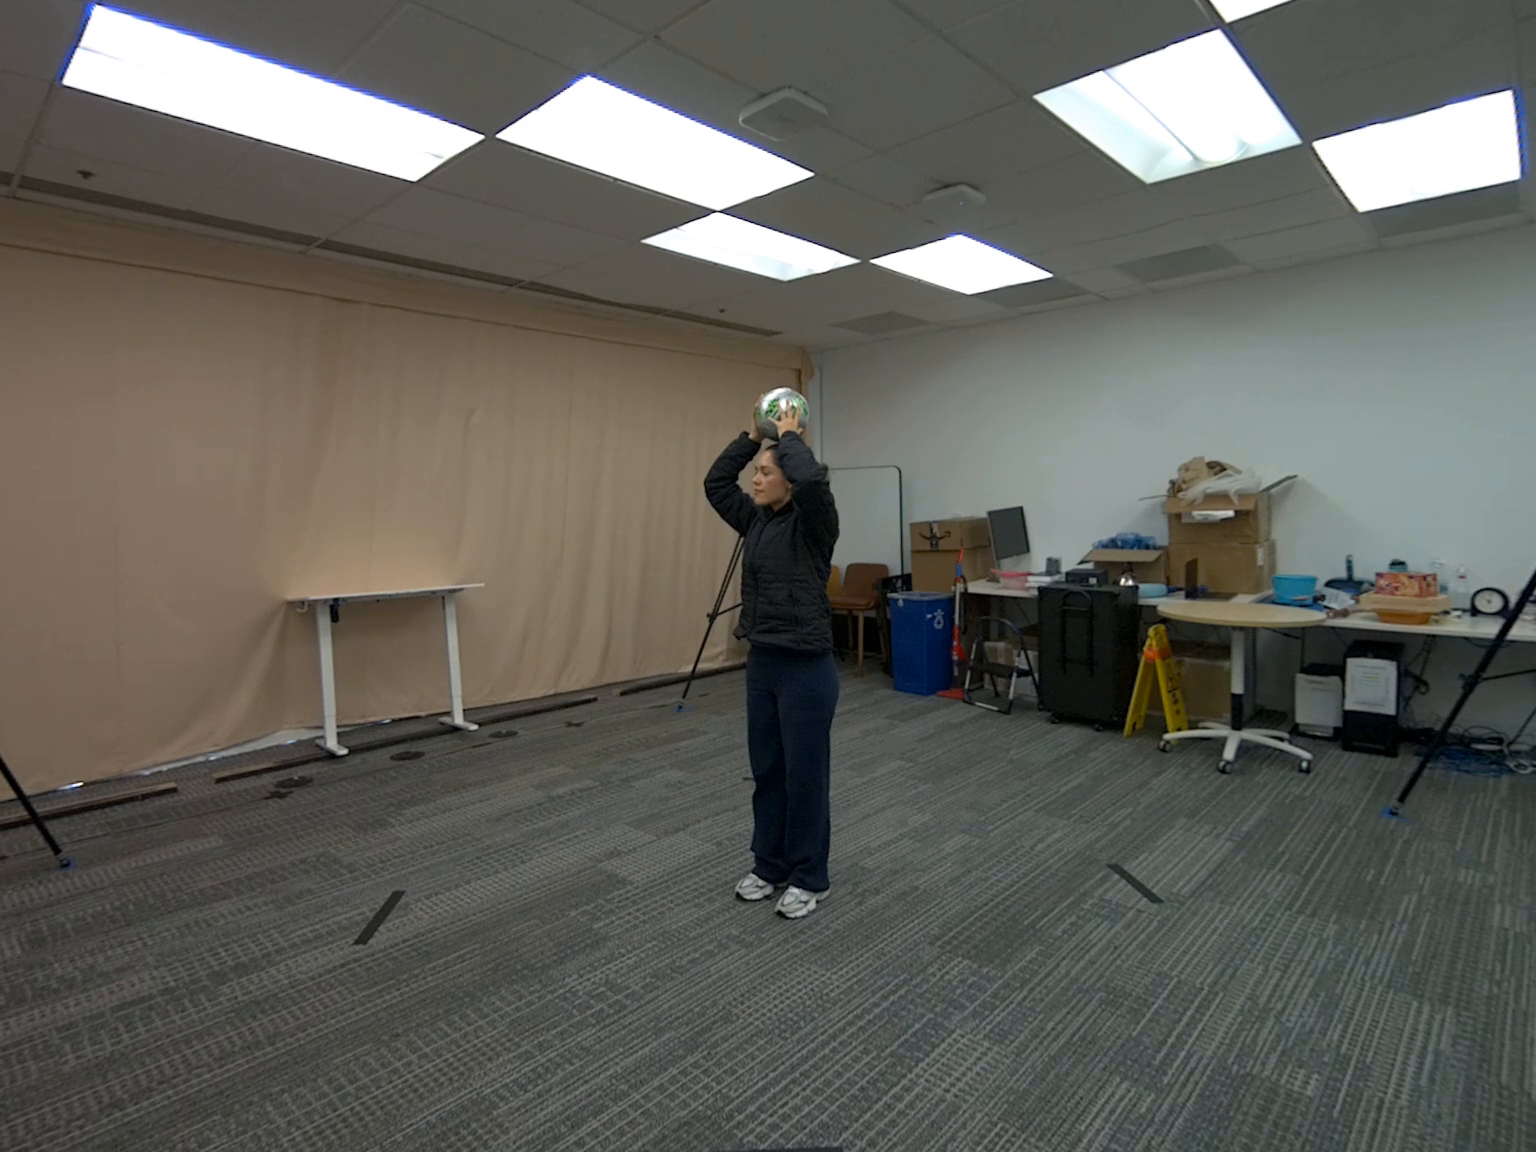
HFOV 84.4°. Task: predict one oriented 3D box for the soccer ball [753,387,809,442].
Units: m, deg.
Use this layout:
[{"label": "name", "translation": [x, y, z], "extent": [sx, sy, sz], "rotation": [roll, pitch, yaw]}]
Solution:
[{"label": "soccer ball", "translation": [0.049, -0.552, 2.913], "extent": [0.187, 0.187, 0.188], "rotation": [-1, 4, -2]}]
